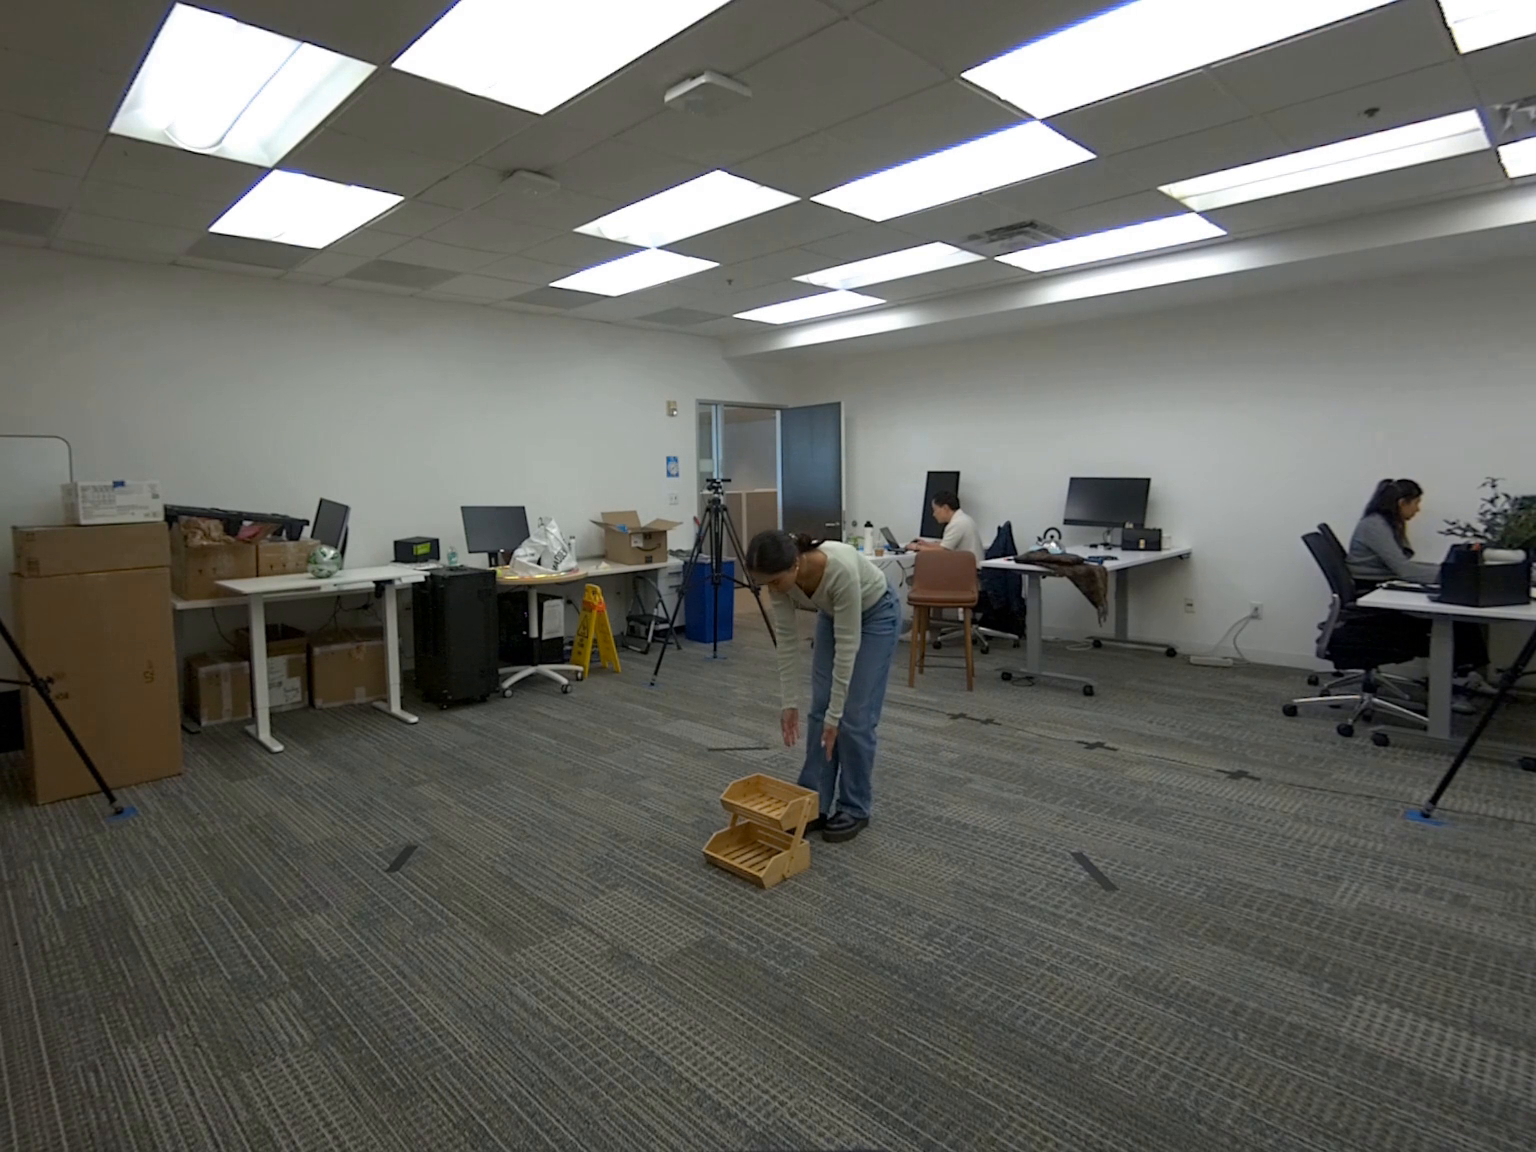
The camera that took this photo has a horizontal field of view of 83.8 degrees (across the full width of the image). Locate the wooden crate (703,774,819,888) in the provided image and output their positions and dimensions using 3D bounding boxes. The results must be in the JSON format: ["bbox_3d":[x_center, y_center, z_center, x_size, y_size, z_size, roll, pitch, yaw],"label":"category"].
[{"bbox_3d":[-0.026,0.910,3.100,0.334,0.272,0.294,4,6,45],"label":"wooden crate"}]
